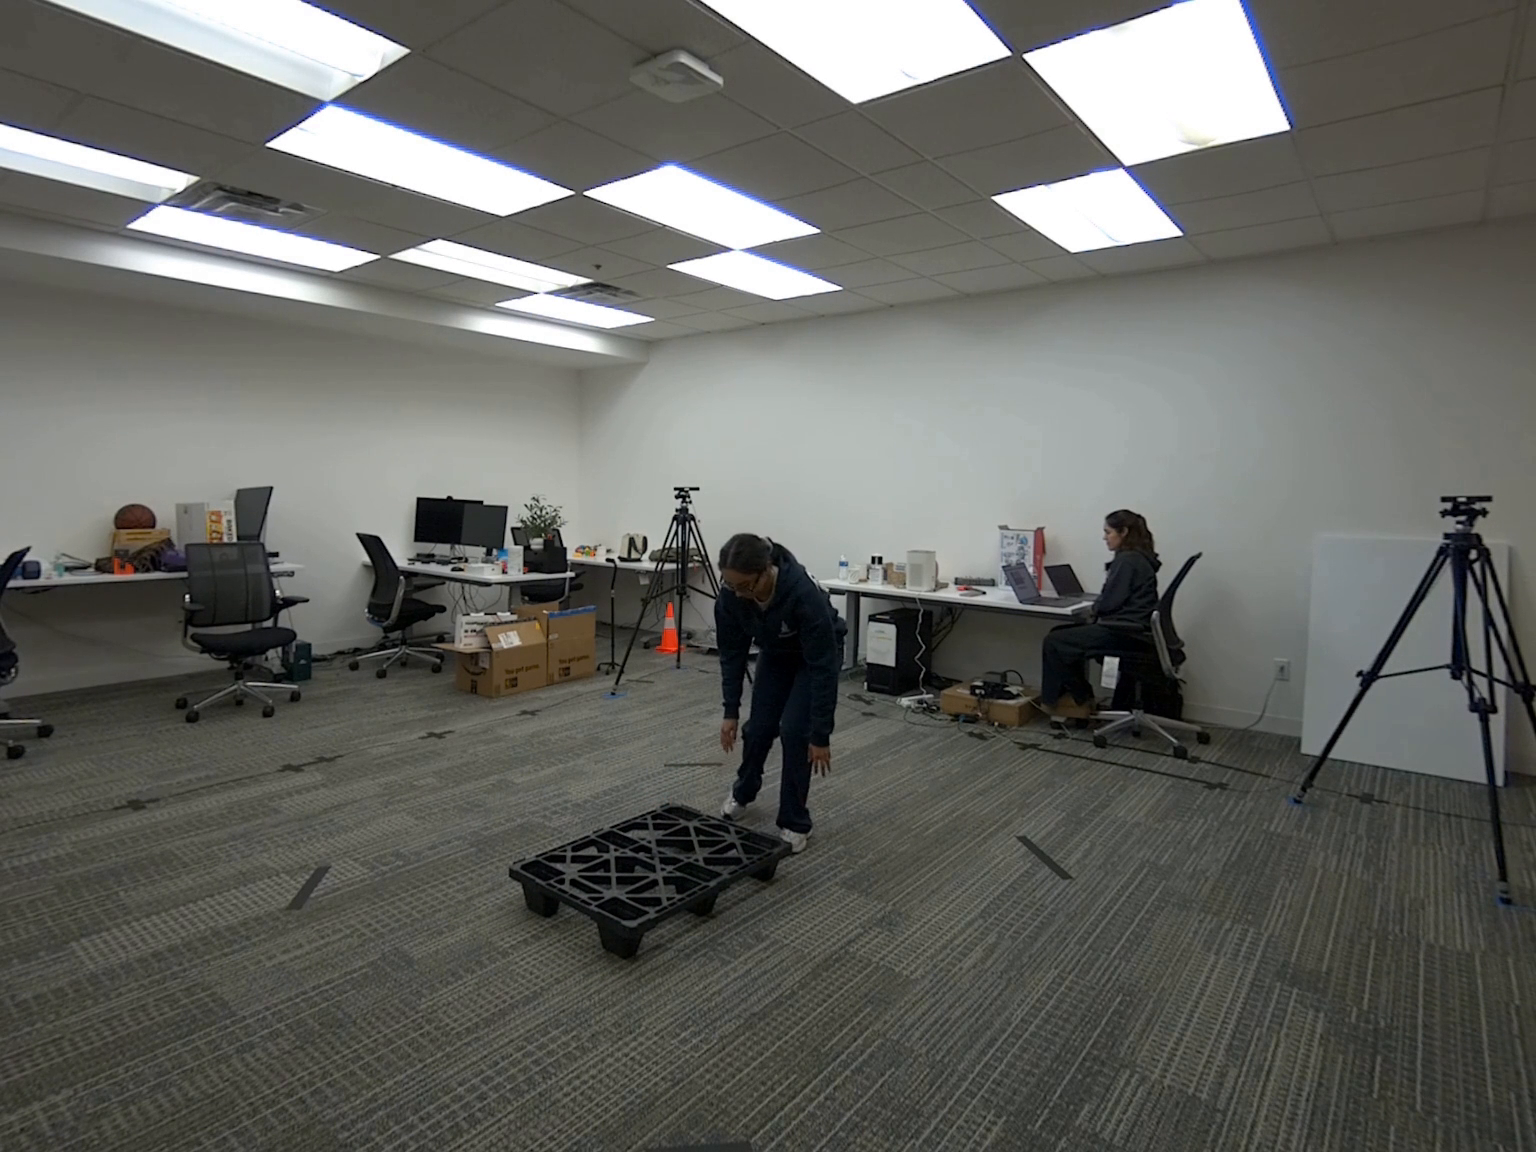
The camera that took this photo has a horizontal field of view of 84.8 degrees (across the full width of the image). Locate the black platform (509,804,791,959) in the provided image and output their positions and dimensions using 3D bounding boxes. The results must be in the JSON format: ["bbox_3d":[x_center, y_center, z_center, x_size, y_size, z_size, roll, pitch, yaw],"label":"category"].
[{"bbox_3d":[-0.390,1.016,2.916,0.626,0.143,0.782,6,8,39],"label":"black platform"}]
